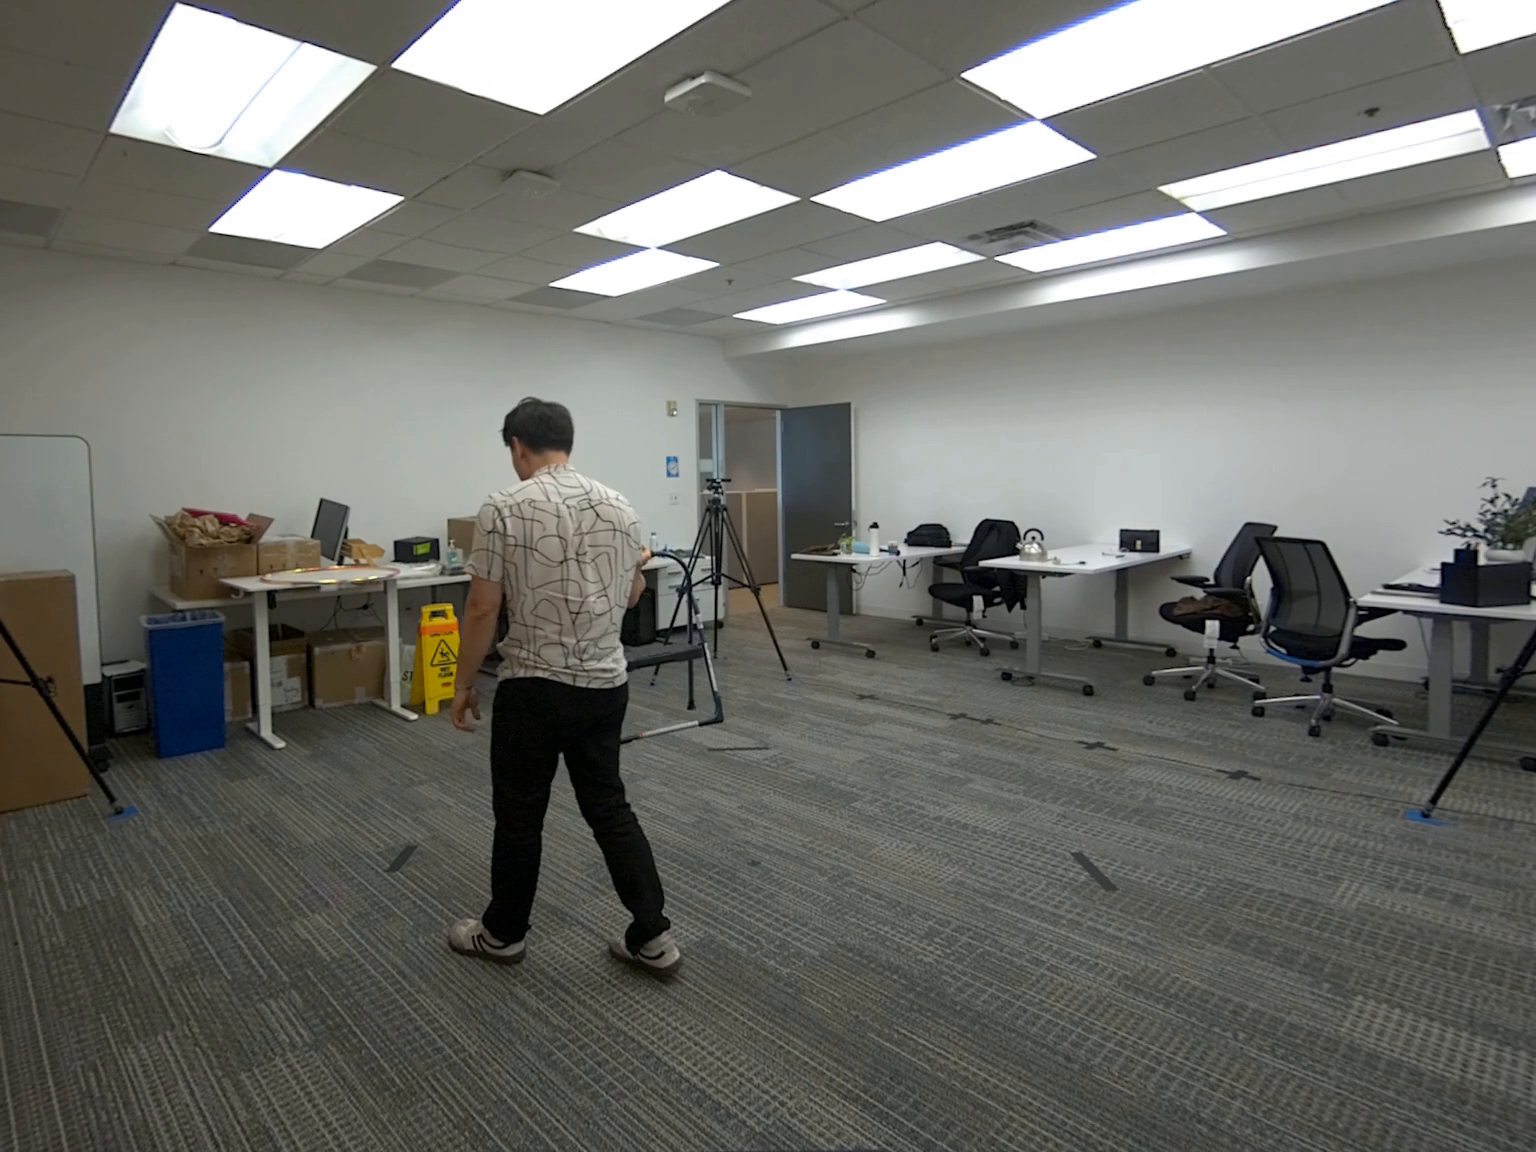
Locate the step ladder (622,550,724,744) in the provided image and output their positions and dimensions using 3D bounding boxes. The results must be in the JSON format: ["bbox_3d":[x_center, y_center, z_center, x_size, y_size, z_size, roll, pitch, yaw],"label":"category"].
[{"bbox_3d":[-0.440,0.226,2.957,0.423,0.606,0.356,-8,0,-24],"label":"step ladder"}]
